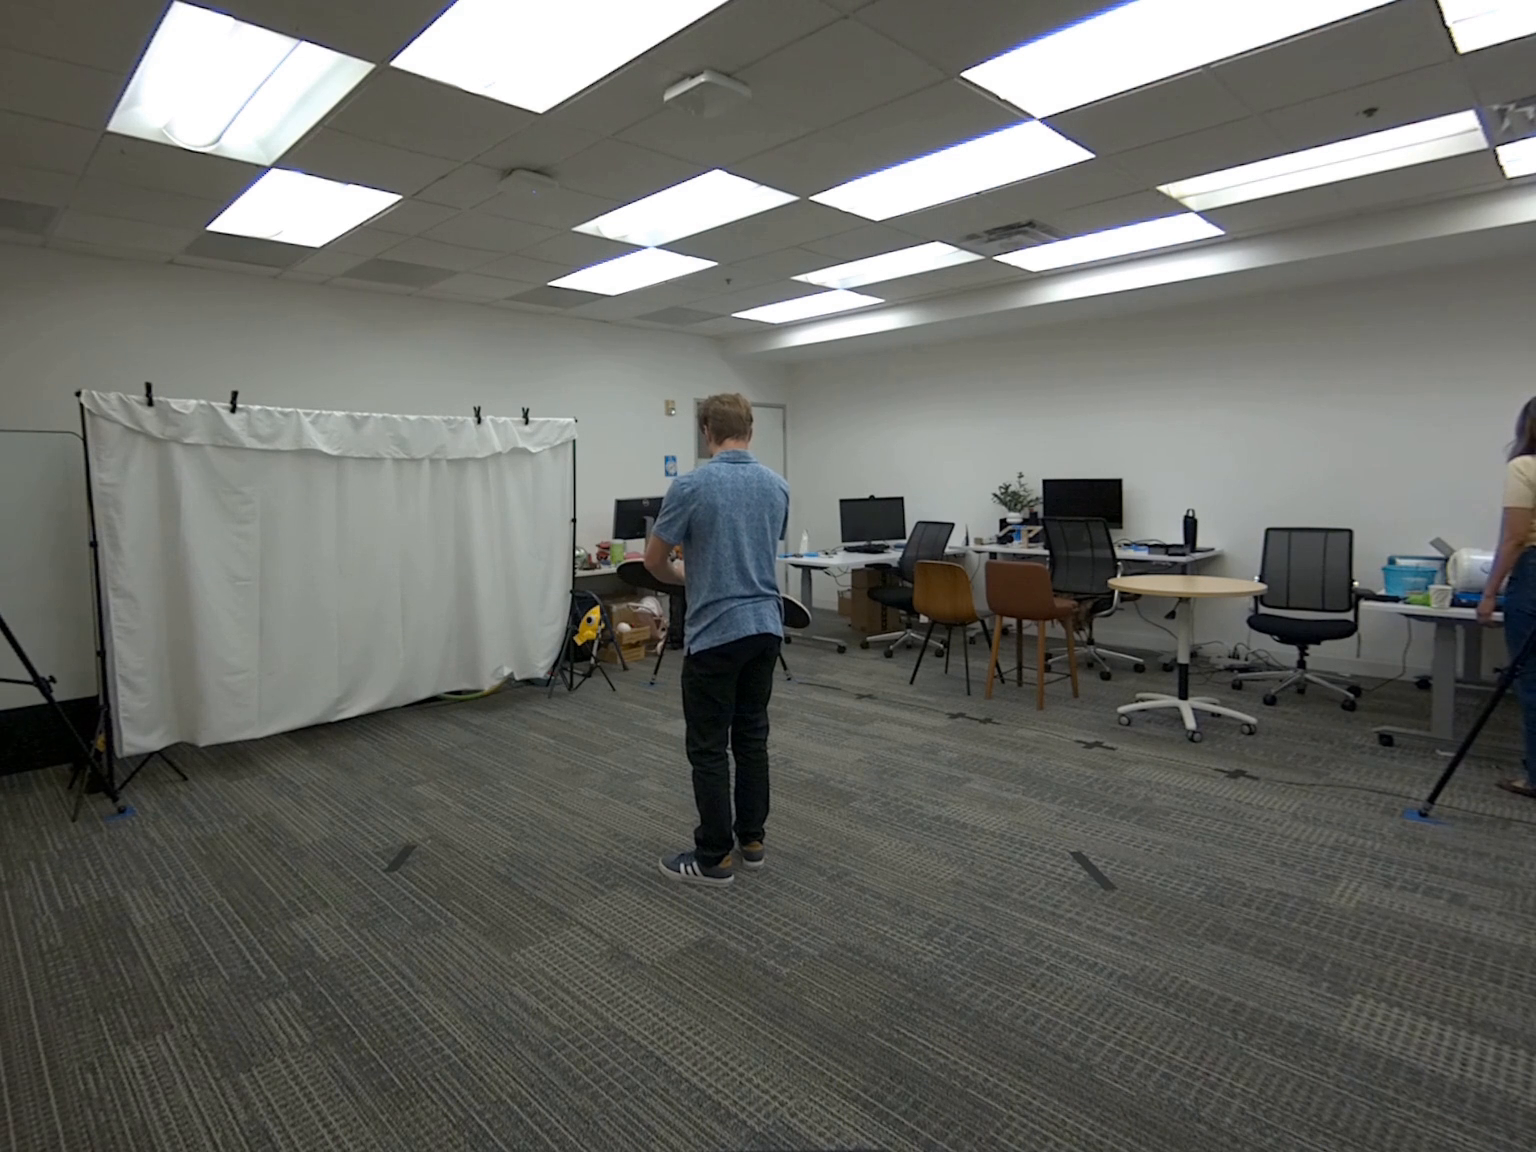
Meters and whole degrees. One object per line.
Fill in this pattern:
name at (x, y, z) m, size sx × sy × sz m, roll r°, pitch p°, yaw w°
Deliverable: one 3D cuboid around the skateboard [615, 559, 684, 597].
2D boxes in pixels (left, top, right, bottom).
skateboard at (-0.221, 0.042, 3.373) m, size 0.793 × 0.112 × 0.189 m, roll 15°, pitch -37°, yaw 8°
